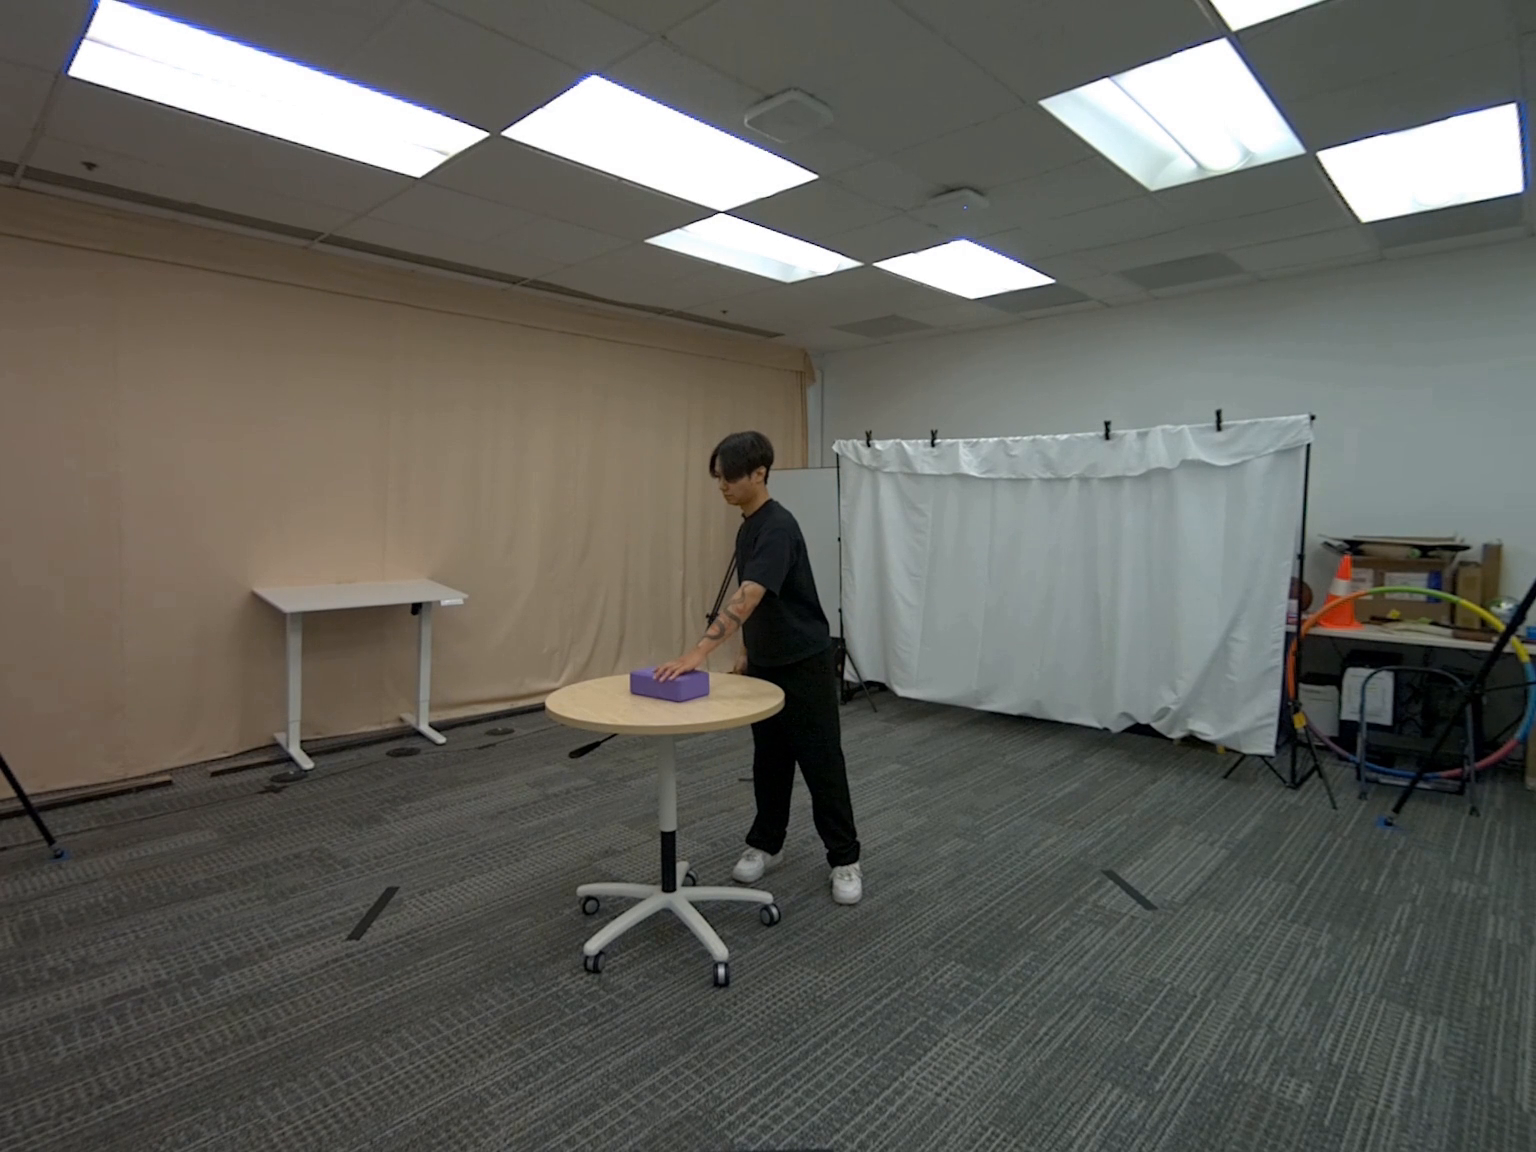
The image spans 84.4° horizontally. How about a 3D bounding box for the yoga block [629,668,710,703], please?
[{"bbox_3d":[-0.314,0.347,2.719,0.237,0.076,0.145,3,7,38],"label":"yoga block"}]
